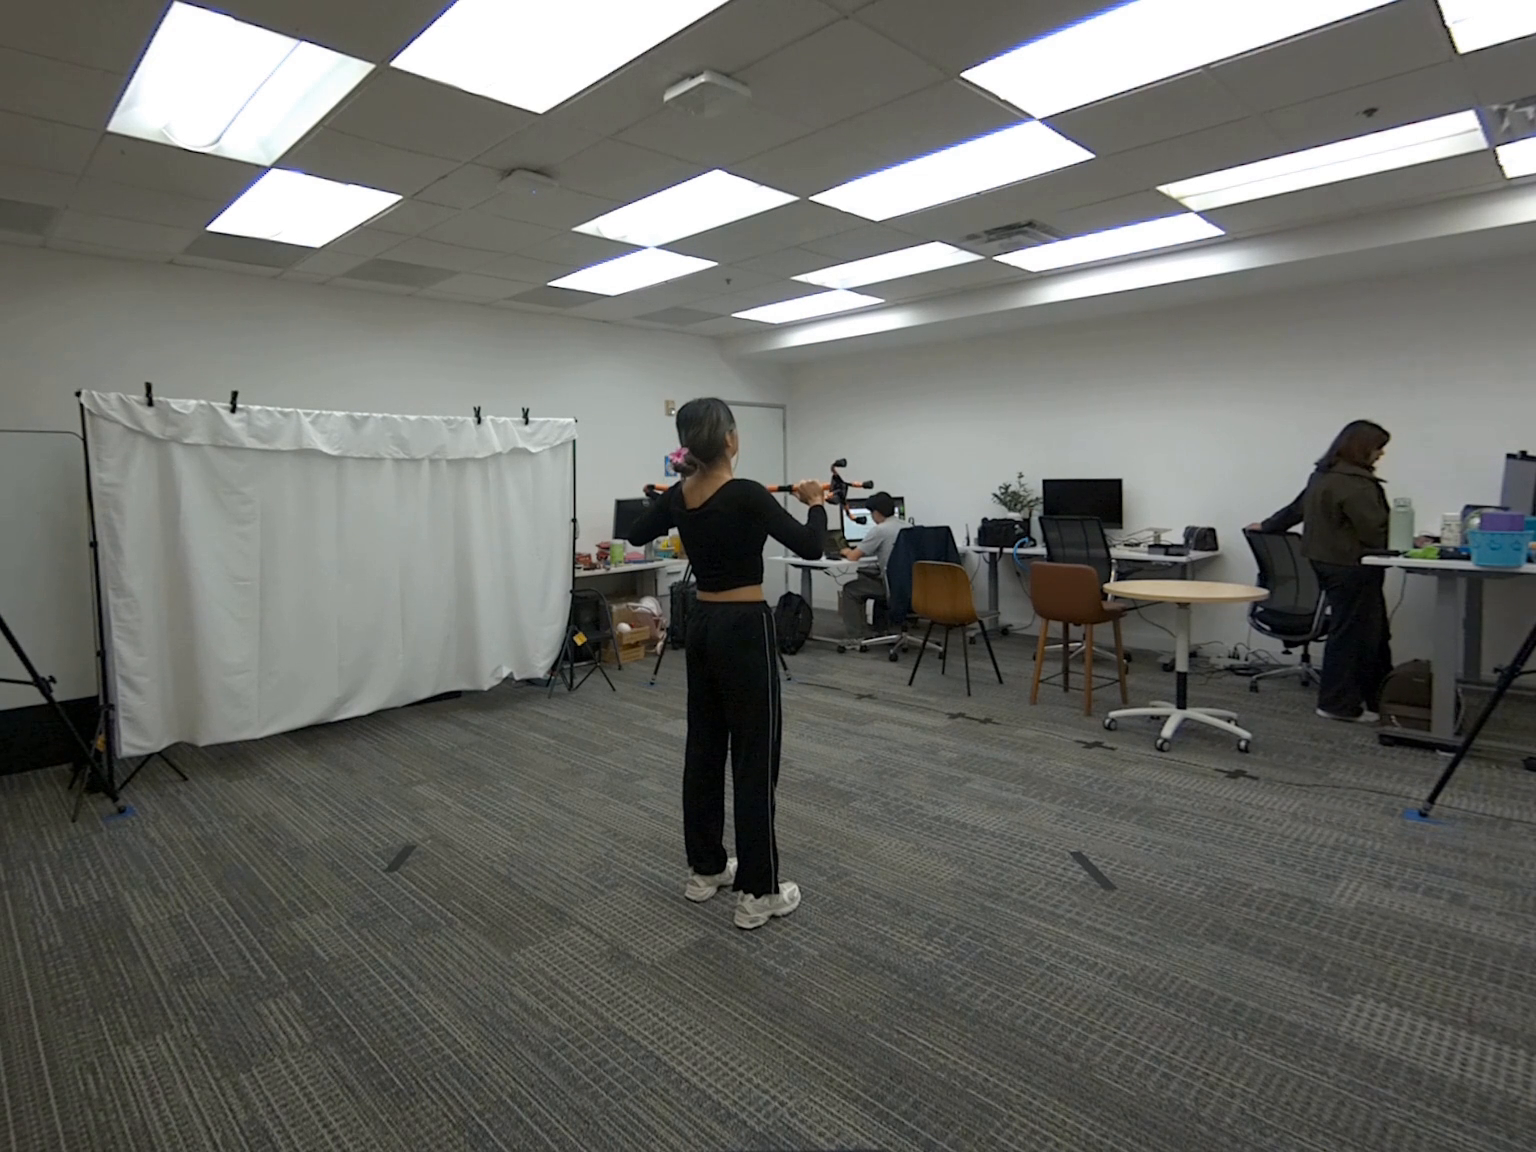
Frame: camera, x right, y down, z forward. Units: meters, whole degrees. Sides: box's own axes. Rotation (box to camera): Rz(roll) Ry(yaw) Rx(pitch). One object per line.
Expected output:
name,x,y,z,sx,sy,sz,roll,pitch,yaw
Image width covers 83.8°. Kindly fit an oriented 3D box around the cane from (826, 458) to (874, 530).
cane,-0.093,-0.285,2.956,0.935,0.153,0.198,3,-18,40
